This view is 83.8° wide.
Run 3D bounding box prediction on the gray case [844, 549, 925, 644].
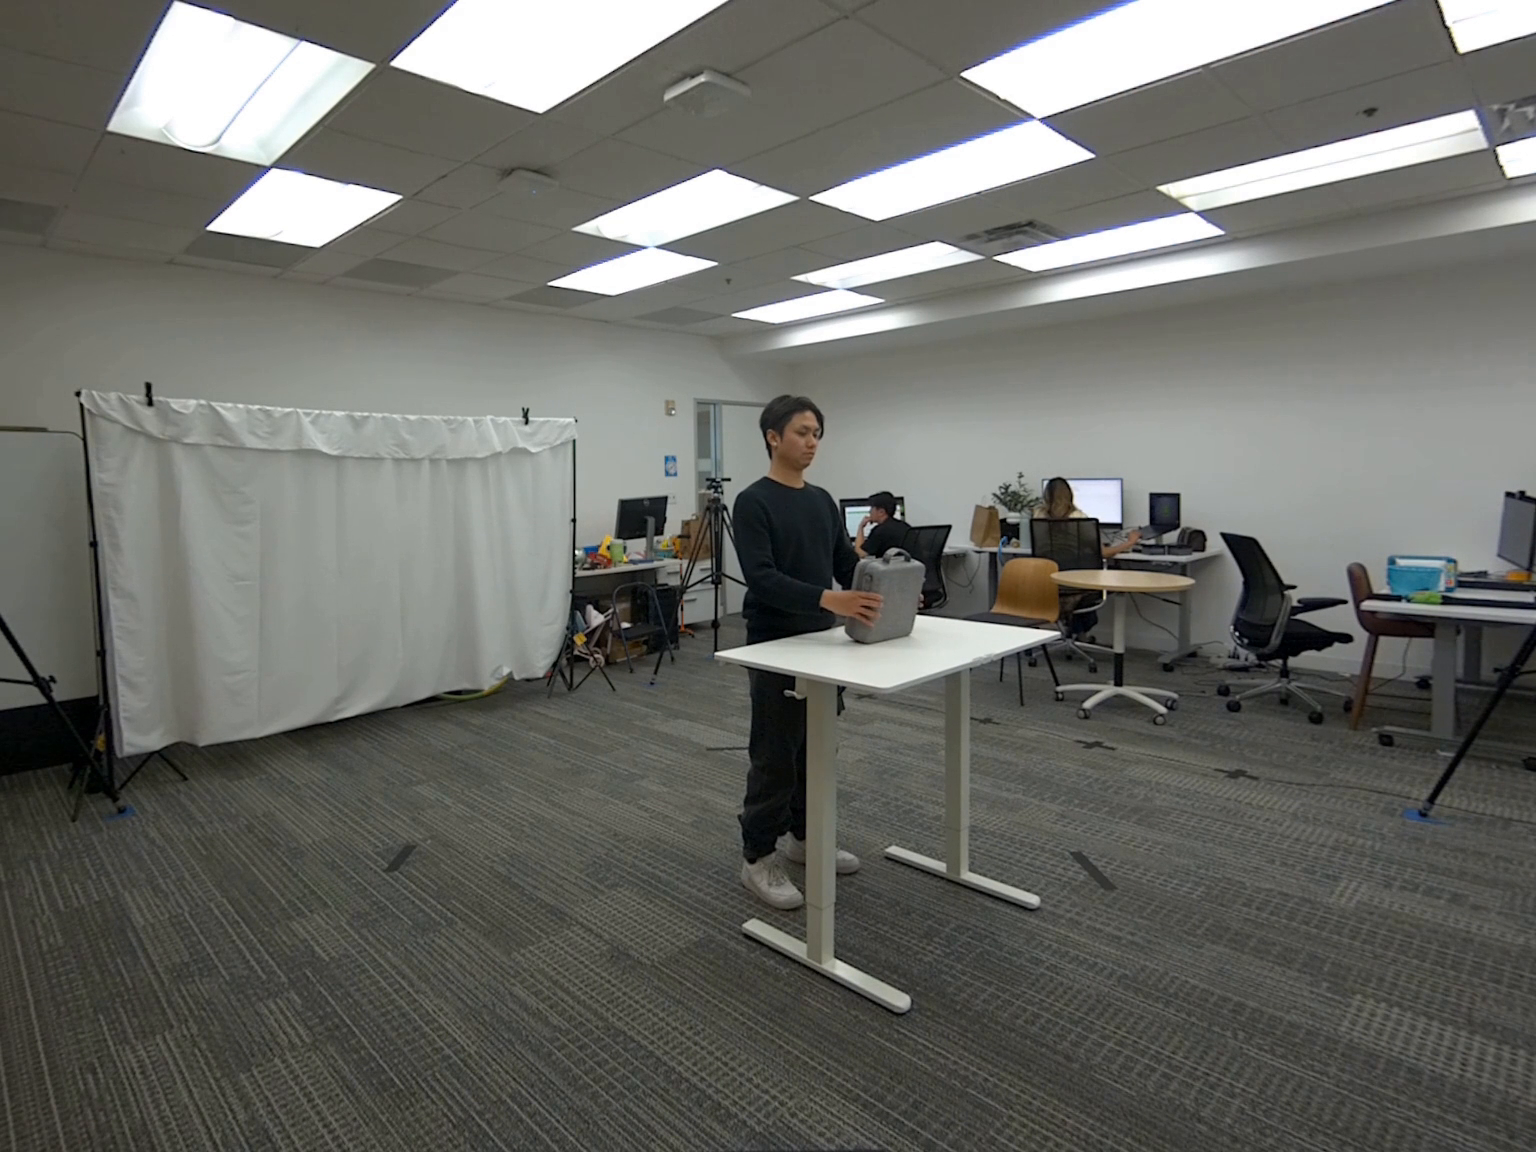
[{"bbox_3d":[0.368,0.066,2.688,0.250,0.258,0.108,-4,18,-42],"label":"gray case"}]
